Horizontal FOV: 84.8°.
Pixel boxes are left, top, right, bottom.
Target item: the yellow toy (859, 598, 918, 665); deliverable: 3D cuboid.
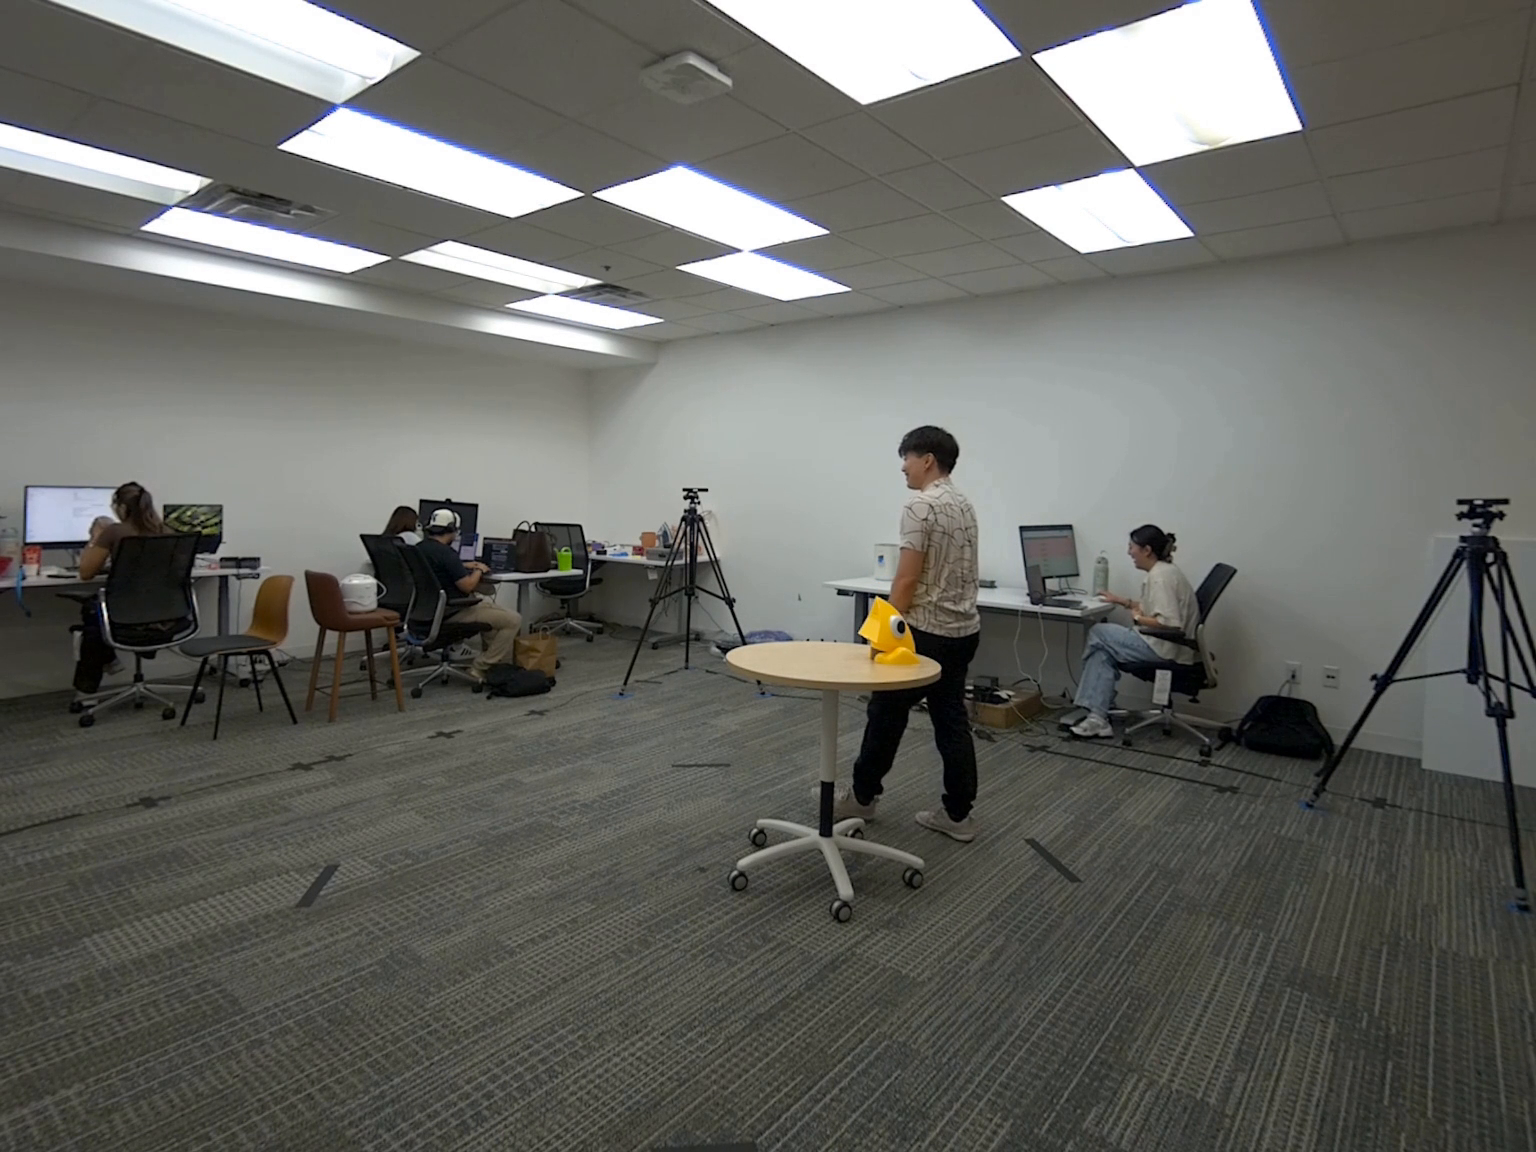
[{"bbox_3d":[0.443,0.186,3.100,0.191,0.230,0.208,0,4,-10],"label":"yellow toy"}]
